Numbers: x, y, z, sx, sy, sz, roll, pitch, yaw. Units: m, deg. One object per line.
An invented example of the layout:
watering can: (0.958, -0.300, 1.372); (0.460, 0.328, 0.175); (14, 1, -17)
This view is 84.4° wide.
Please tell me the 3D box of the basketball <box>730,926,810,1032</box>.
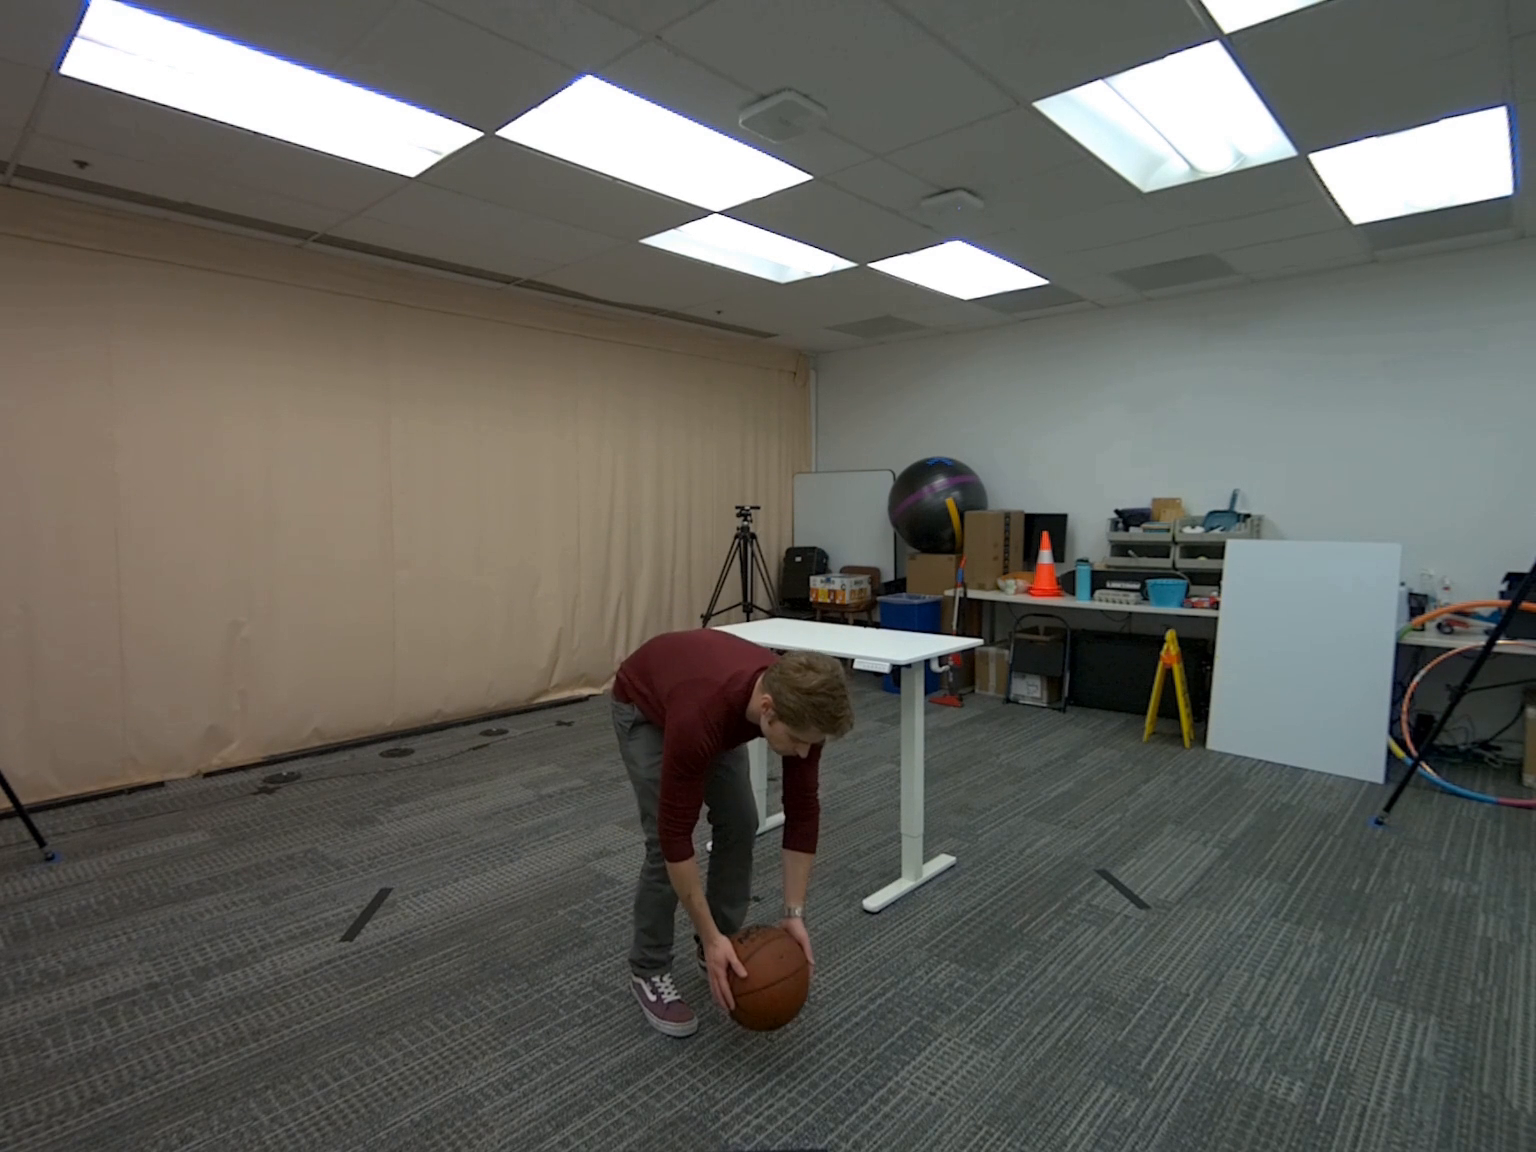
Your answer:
basketball: (-0.012, 0.993, 2.108); (0.236, 0.235, 0.237); (0, 4, -2)
